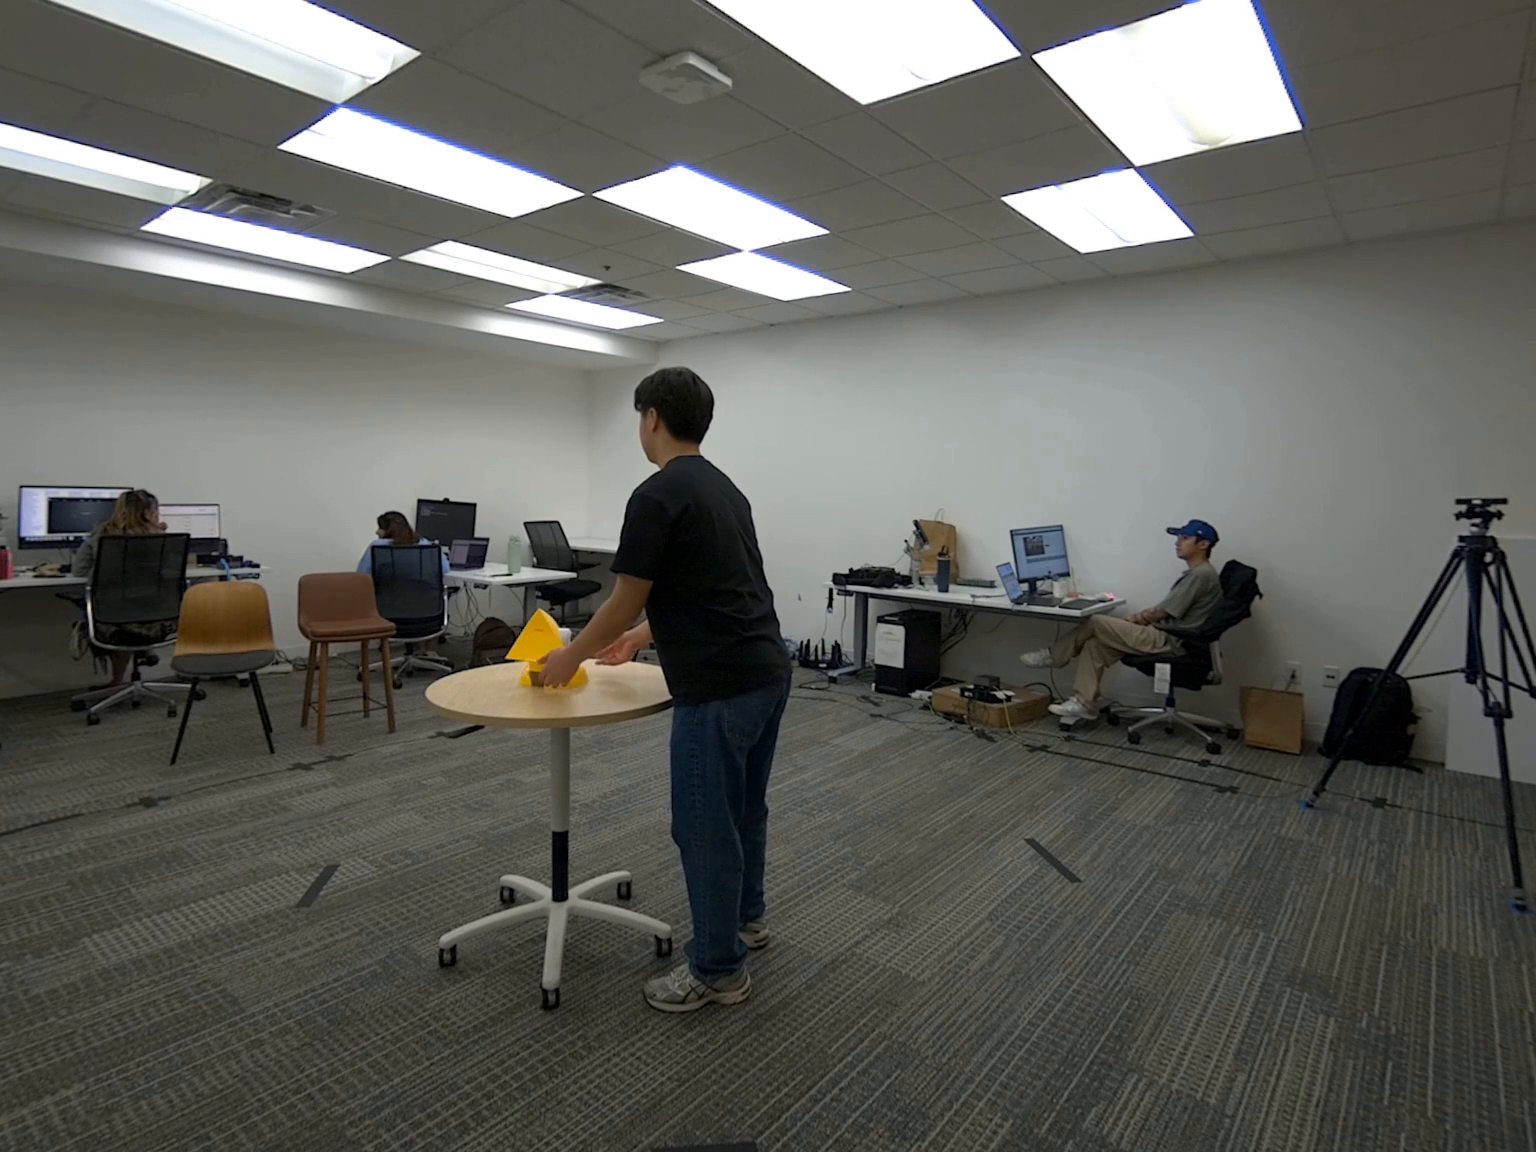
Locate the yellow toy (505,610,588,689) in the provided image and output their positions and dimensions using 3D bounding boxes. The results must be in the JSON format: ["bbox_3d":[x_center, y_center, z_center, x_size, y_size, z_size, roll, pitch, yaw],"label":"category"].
[{"bbox_3d":[-0.664,0.206,2.568,0.210,0.230,0.189,2,4,24],"label":"yellow toy"}]
